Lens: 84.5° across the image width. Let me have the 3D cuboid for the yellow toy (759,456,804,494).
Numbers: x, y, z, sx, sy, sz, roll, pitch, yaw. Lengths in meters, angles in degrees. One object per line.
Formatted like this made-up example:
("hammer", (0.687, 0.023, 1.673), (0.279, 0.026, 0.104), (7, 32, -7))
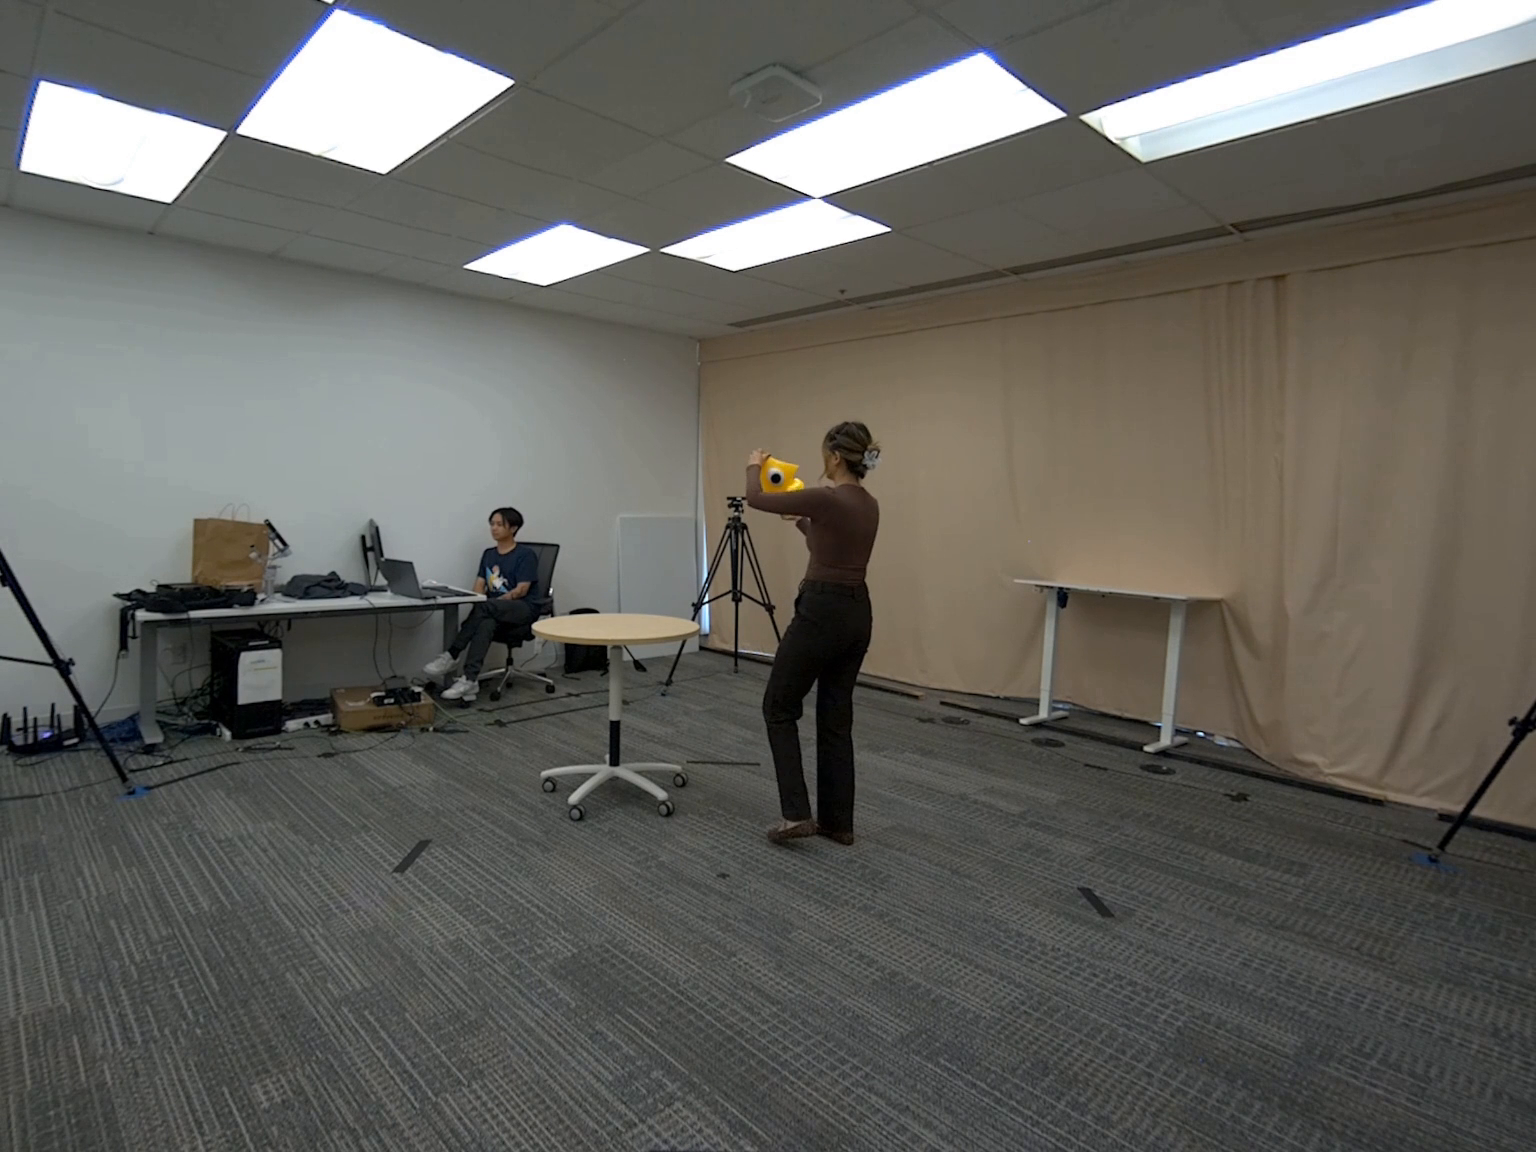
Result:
("yellow toy", (0.007, -0.435, 3.761), (0.224, 0.194, 0.210), (39, -20, -31))
